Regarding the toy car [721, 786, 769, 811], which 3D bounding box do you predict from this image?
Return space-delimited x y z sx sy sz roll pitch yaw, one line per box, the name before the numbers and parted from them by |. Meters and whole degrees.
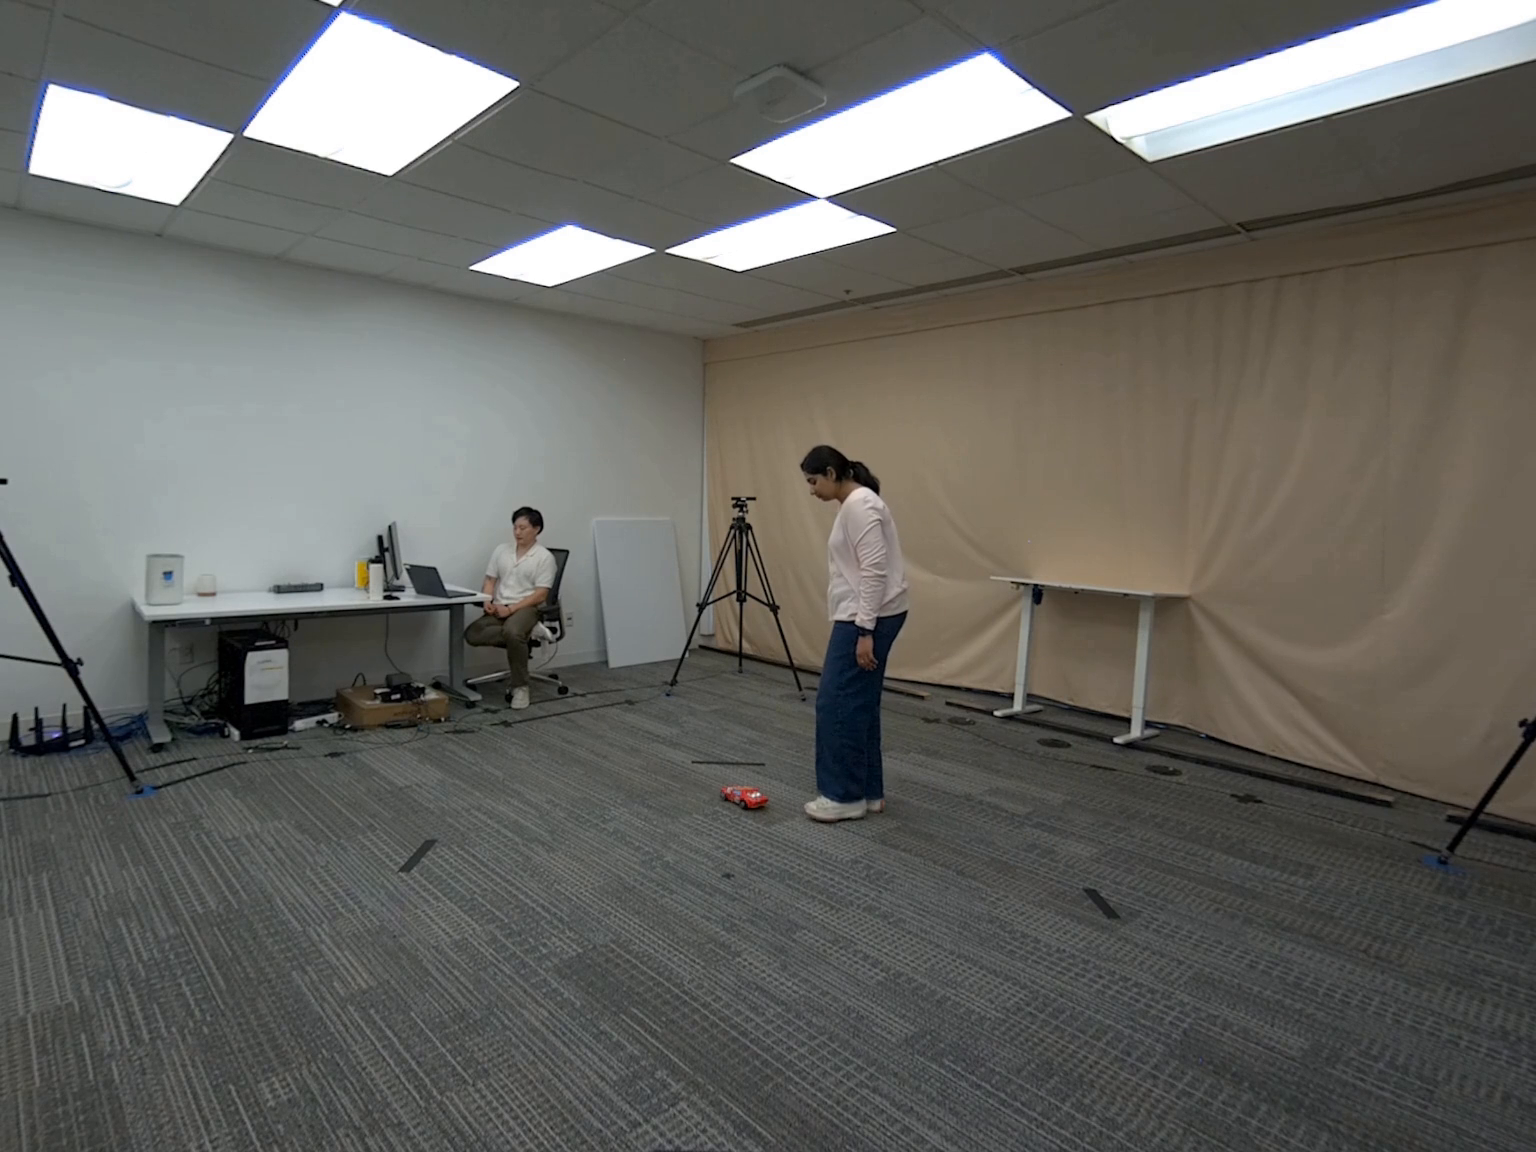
toy car | -0.112 1.007 3.851 0.127 0.083 0.259 -1 -6 -40
